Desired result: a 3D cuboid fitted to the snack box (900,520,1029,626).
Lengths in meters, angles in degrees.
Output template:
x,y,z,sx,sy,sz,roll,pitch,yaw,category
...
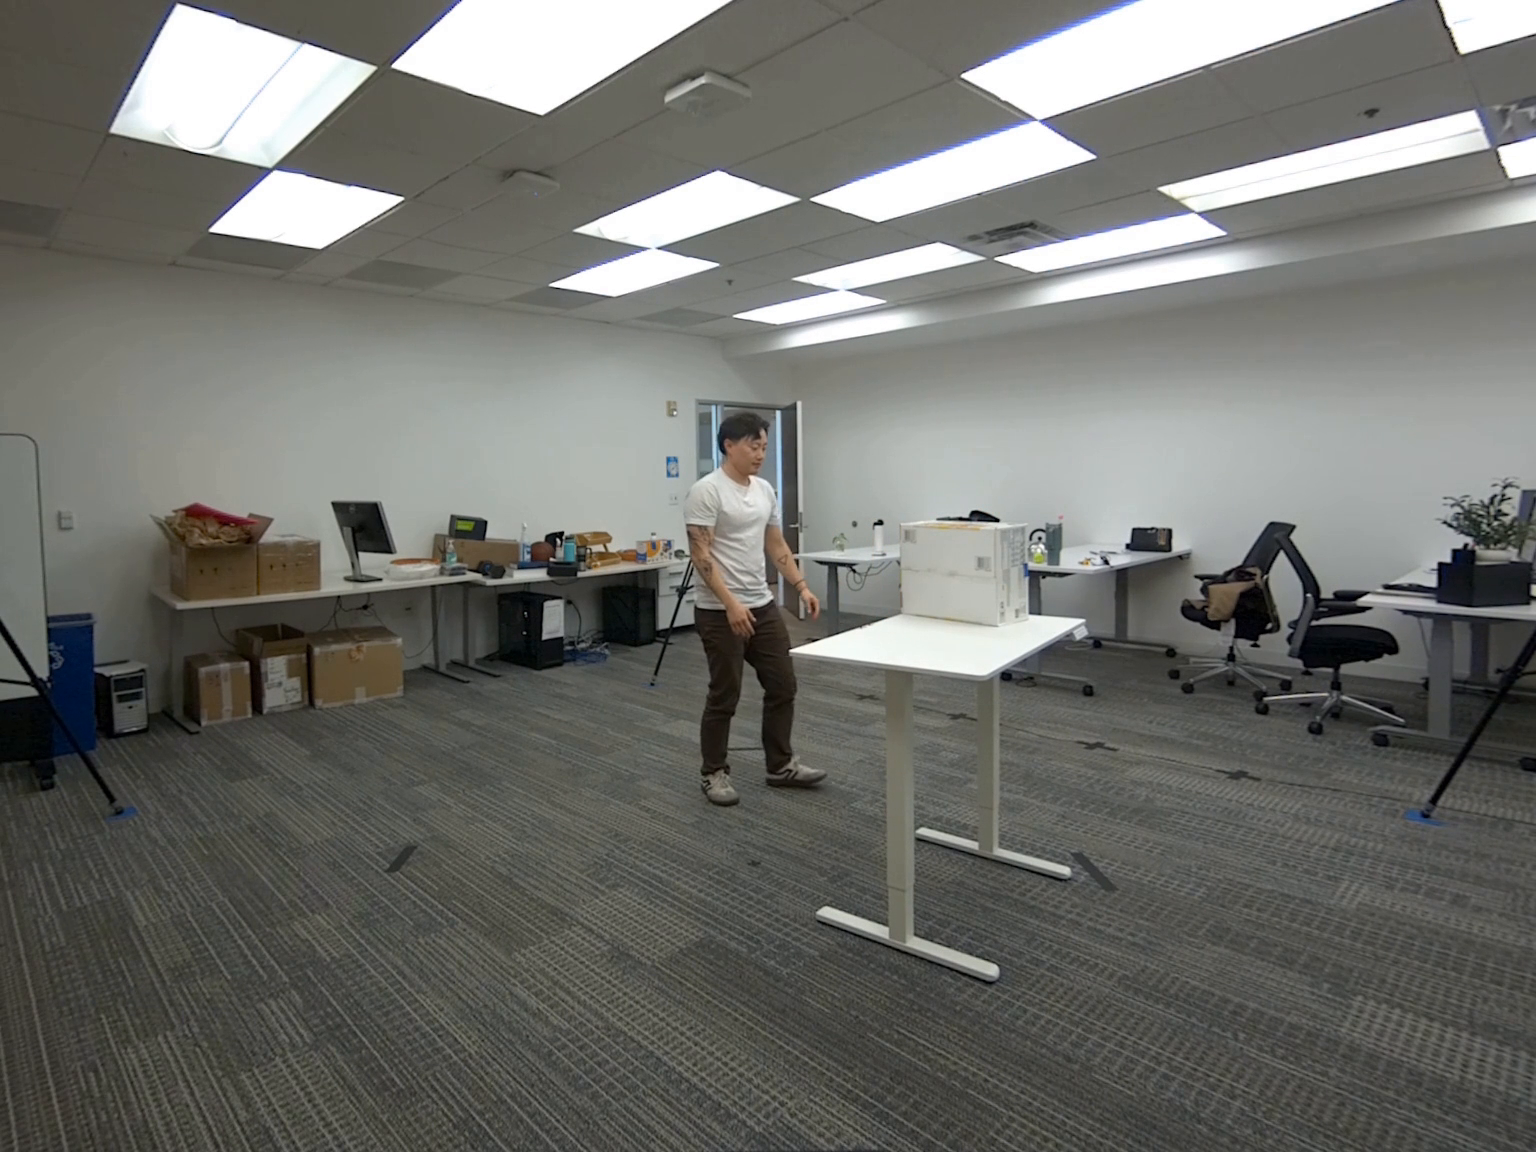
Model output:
x,y,z,sx,sy,sz,roll,pitch,yaw,category
0.705,-0.020,3.092,0.200,0.339,0.418,-6,7,-41,snack box
